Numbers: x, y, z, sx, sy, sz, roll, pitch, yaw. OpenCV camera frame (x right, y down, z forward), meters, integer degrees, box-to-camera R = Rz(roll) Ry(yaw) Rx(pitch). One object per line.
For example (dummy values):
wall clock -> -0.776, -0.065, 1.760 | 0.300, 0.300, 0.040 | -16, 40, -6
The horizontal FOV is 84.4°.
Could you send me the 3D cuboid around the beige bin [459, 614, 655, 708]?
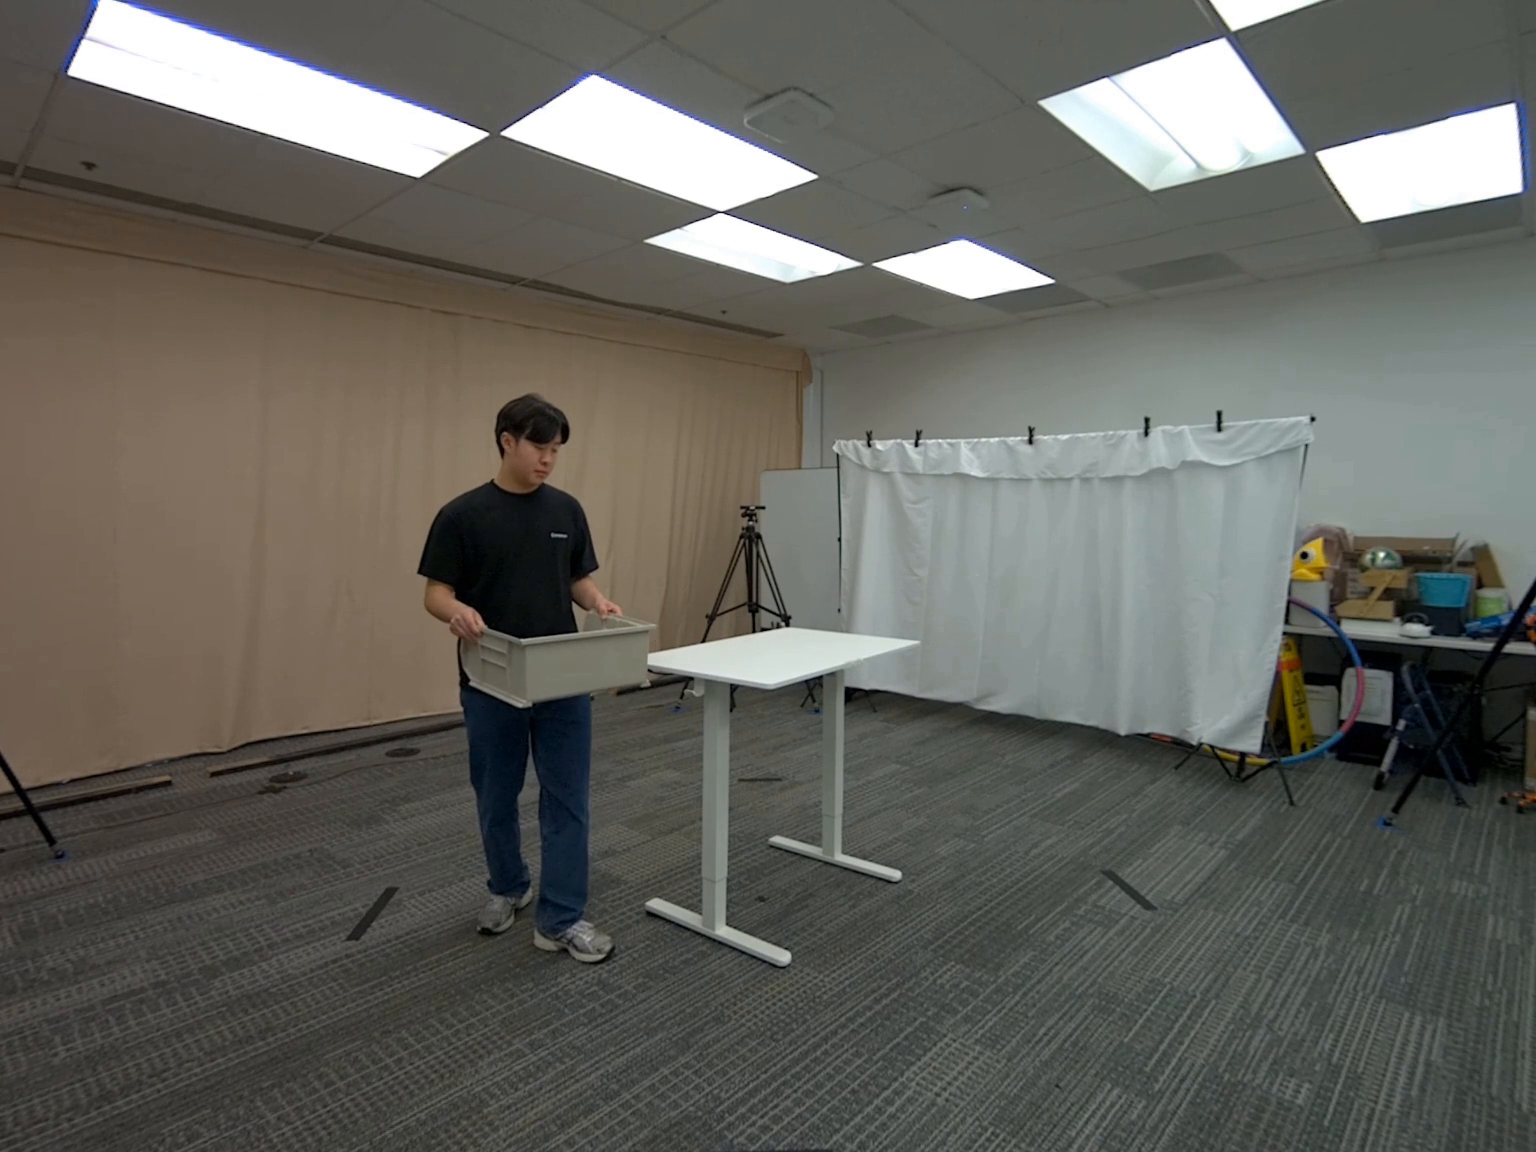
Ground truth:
beige bin -> -0.602, 0.218, 2.411 | 0.409, 0.188, 0.390 | -3, 8, -42
